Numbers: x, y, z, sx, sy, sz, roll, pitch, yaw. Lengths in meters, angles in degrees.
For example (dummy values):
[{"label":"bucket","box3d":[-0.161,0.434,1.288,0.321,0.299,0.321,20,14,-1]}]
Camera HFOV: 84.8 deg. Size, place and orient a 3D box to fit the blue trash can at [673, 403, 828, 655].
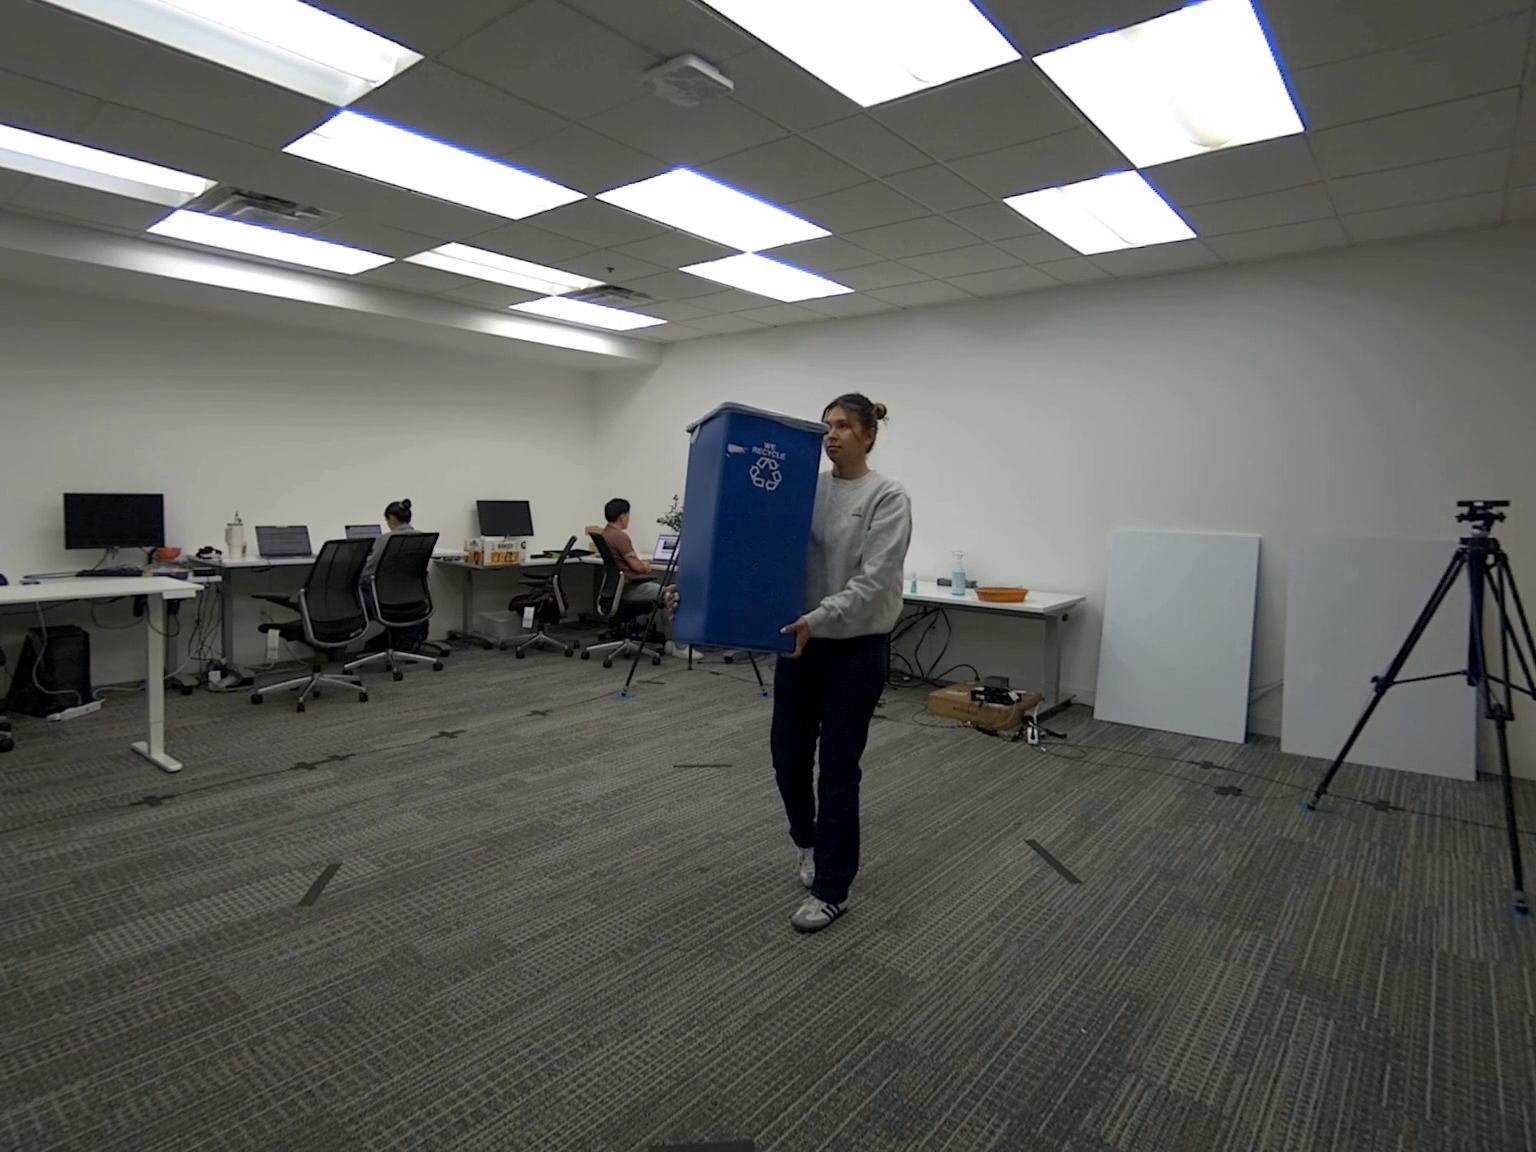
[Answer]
[{"label":"blue trash can","box3d":[-0.078,-0.136,2.680,0.365,0.718,0.385,9,-8,-23]}]
